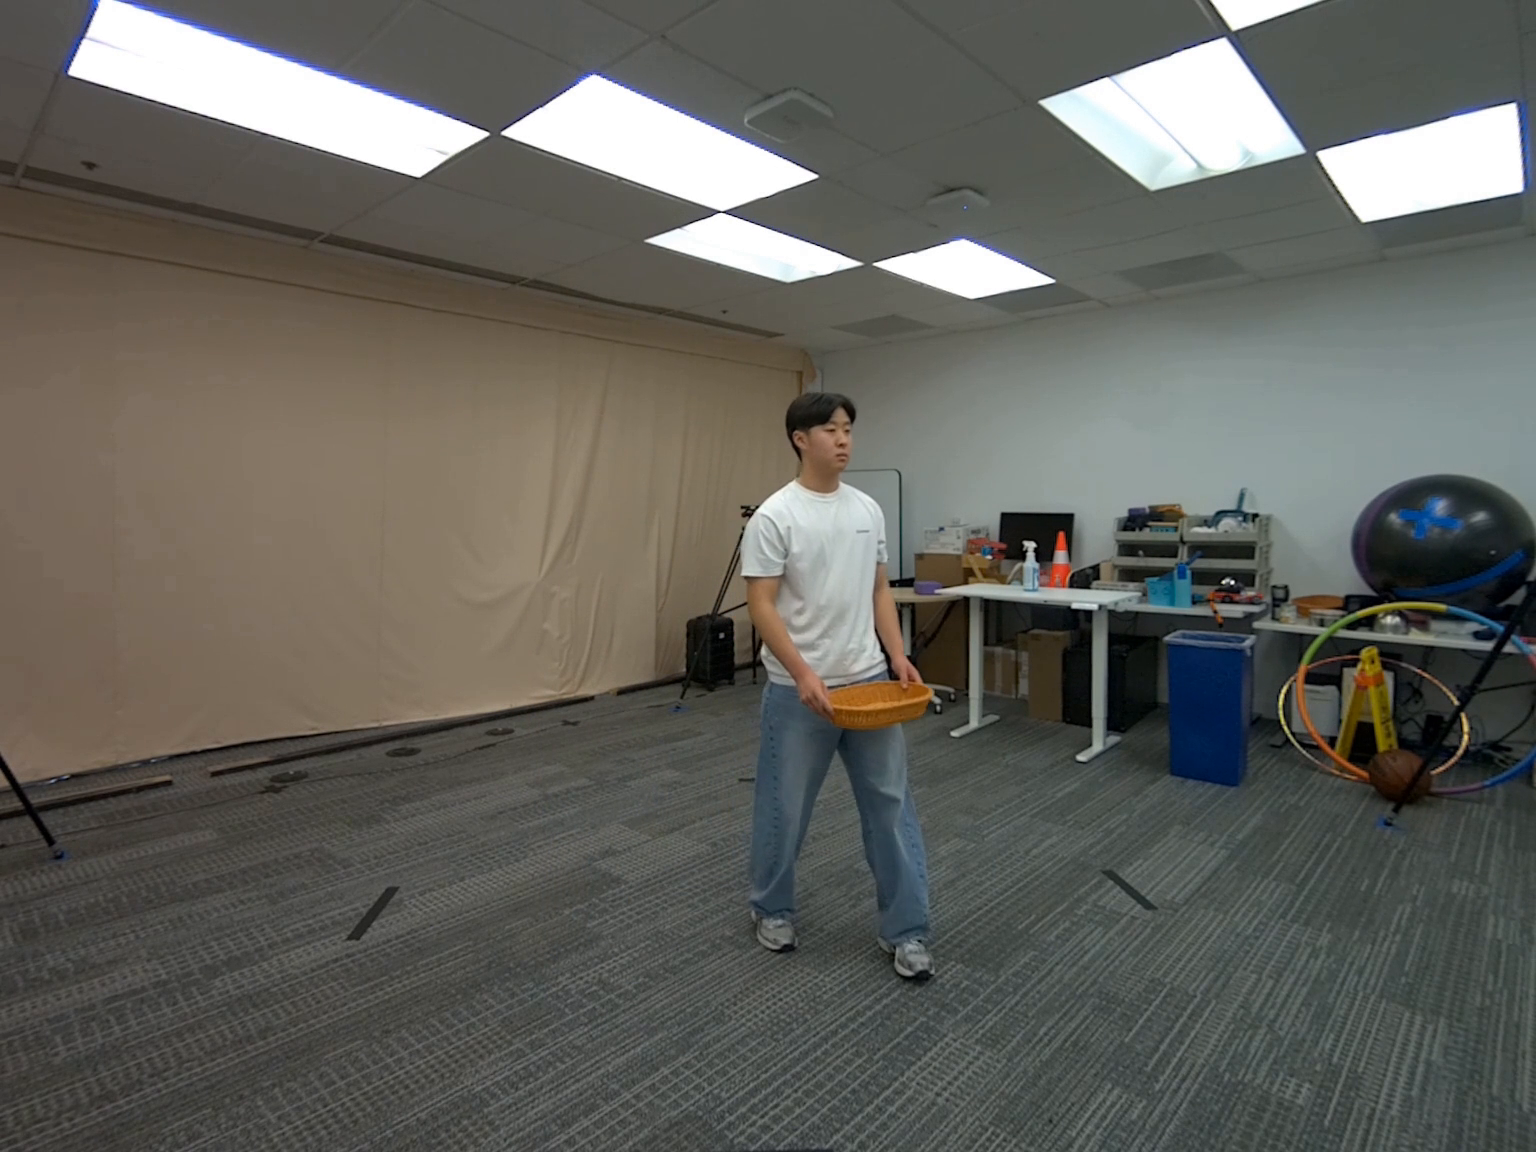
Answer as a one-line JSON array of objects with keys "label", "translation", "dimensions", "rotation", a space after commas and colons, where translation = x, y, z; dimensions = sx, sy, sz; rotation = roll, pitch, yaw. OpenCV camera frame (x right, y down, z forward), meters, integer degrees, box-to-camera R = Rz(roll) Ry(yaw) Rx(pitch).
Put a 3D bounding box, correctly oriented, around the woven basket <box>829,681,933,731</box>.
[{"label": "woven basket", "translation": [0.300, 0.371, 2.449], "dimensions": [0.341, 0.073, 0.260], "rotation": [-10, 9, -35]}]
